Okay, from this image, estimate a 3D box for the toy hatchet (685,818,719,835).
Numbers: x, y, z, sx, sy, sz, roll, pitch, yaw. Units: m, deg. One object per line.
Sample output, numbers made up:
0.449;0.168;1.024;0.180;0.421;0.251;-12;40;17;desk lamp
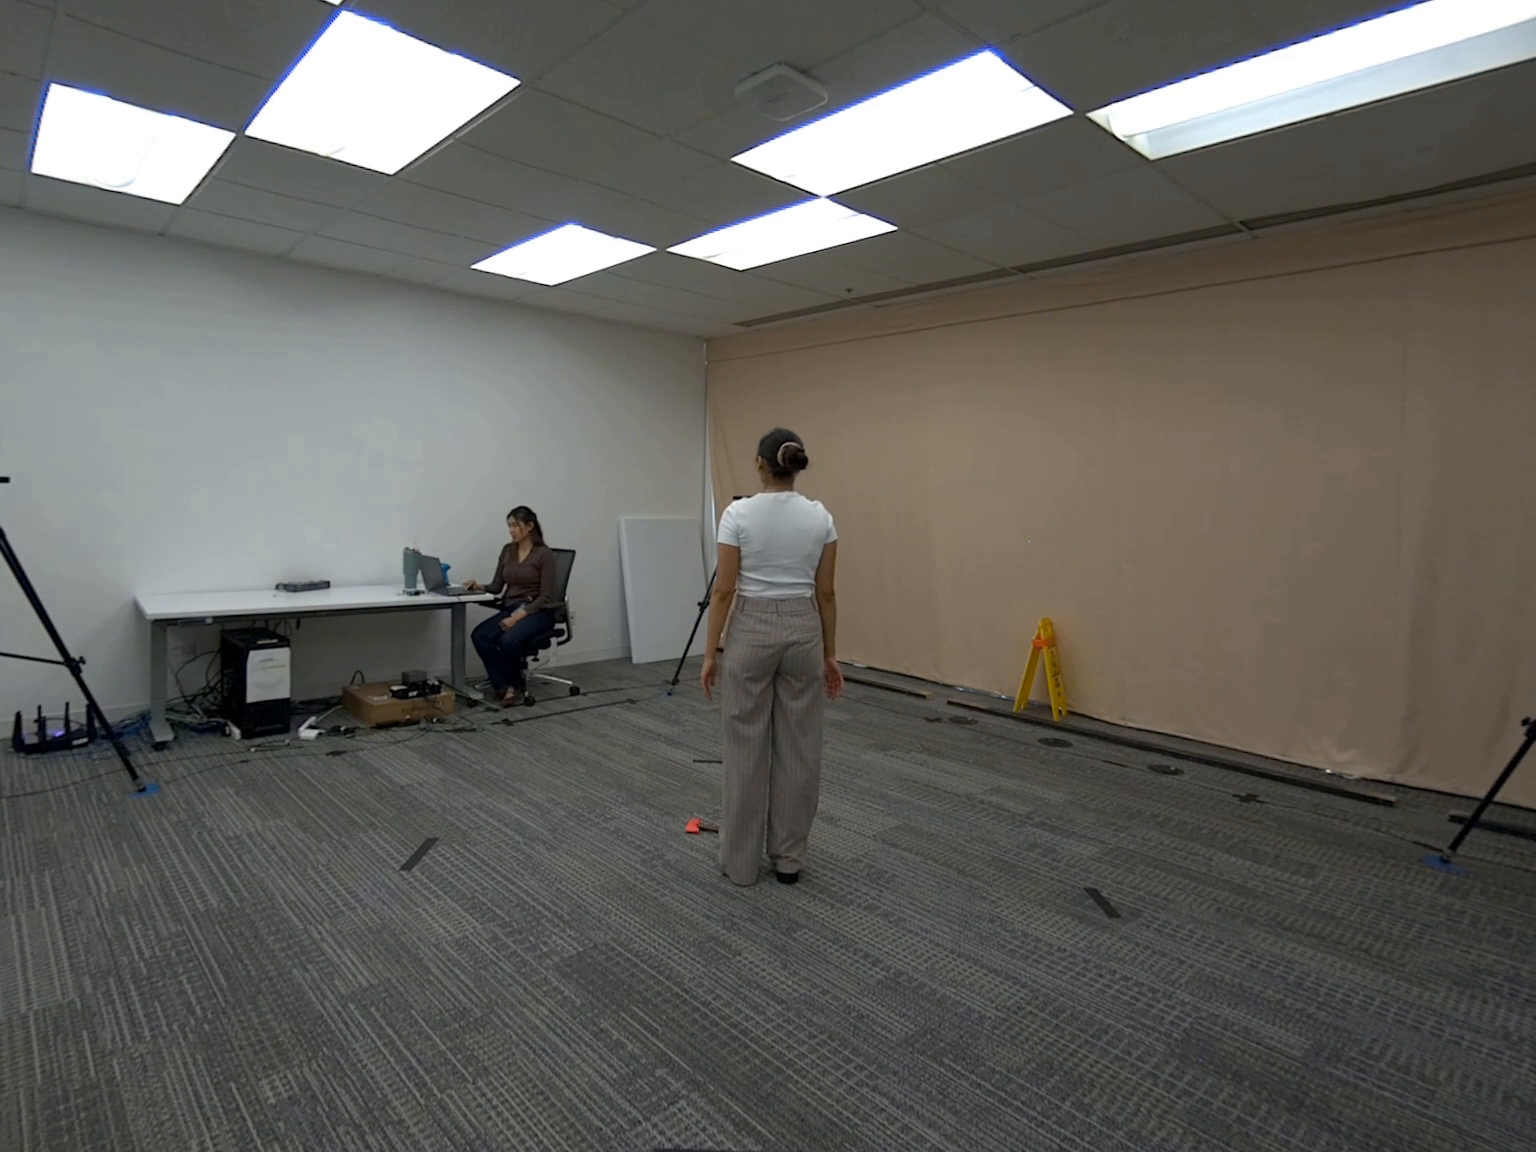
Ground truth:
-0.245;1.059;3.468;0.277;0.029;0.128;7;5;41;toy hatchet
